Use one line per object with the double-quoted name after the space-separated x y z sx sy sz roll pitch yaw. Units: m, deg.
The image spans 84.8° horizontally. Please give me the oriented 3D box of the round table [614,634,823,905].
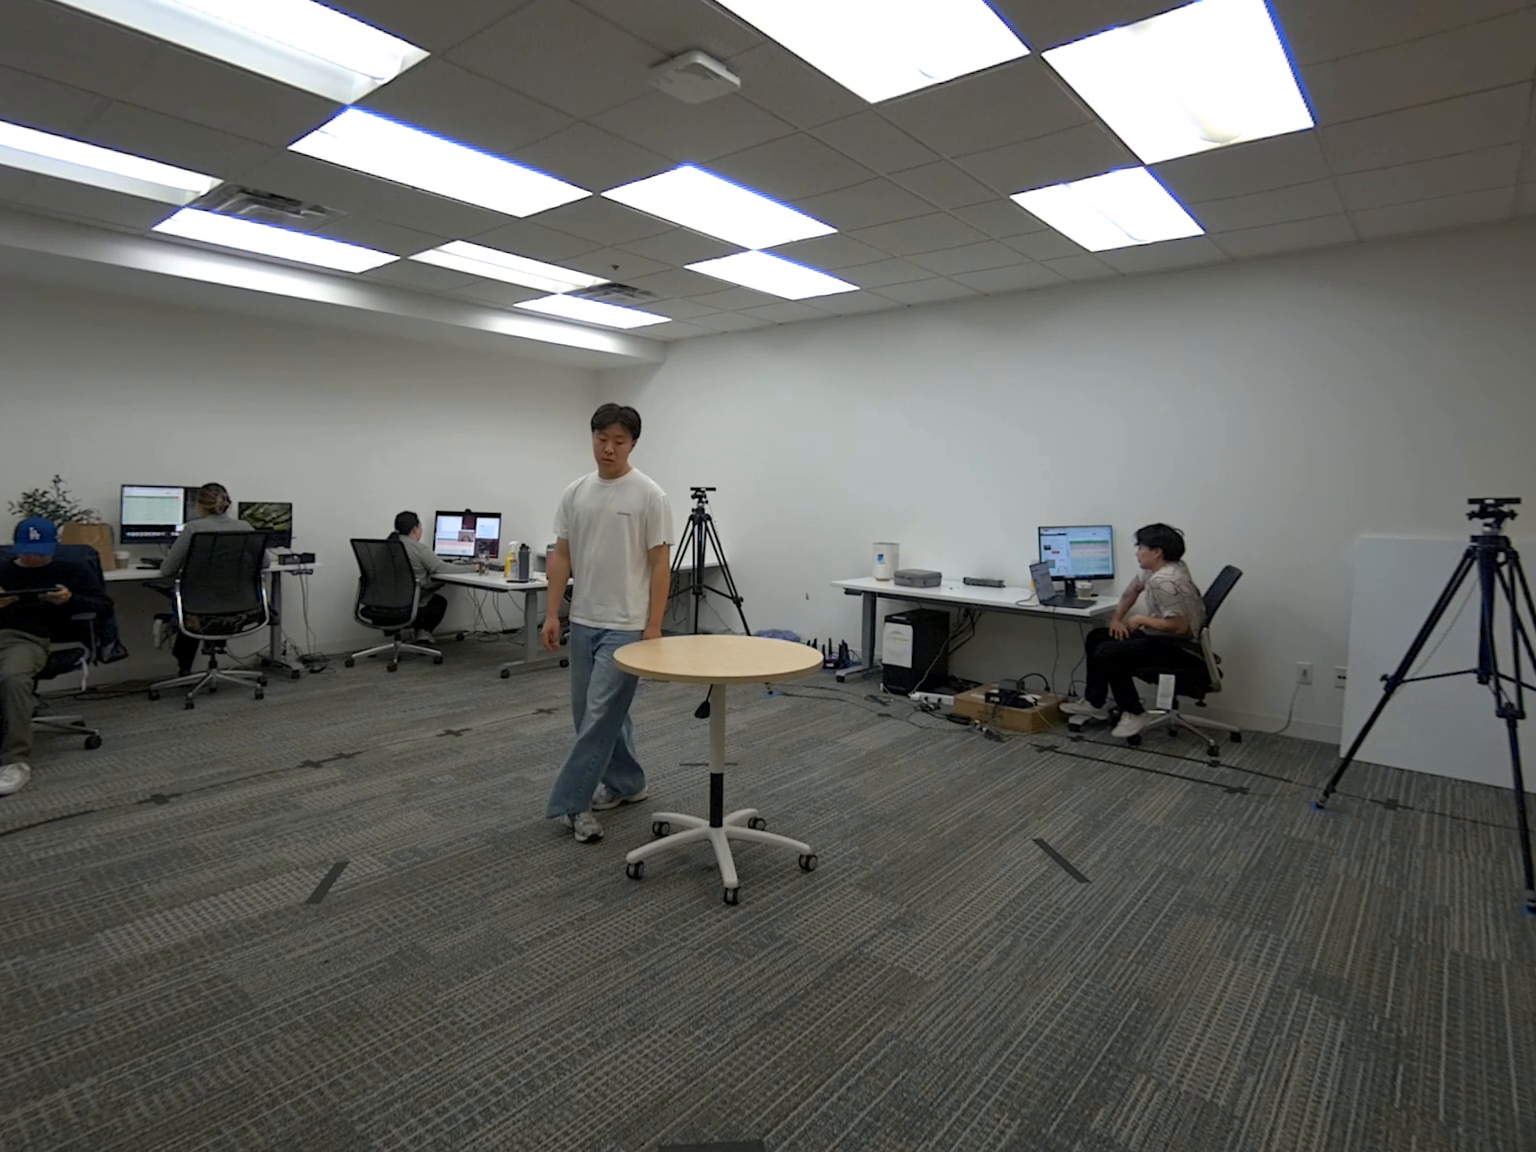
-0.196 0.675 3.135 0.763 0.792 0.767 1 4 -2 "round table"
